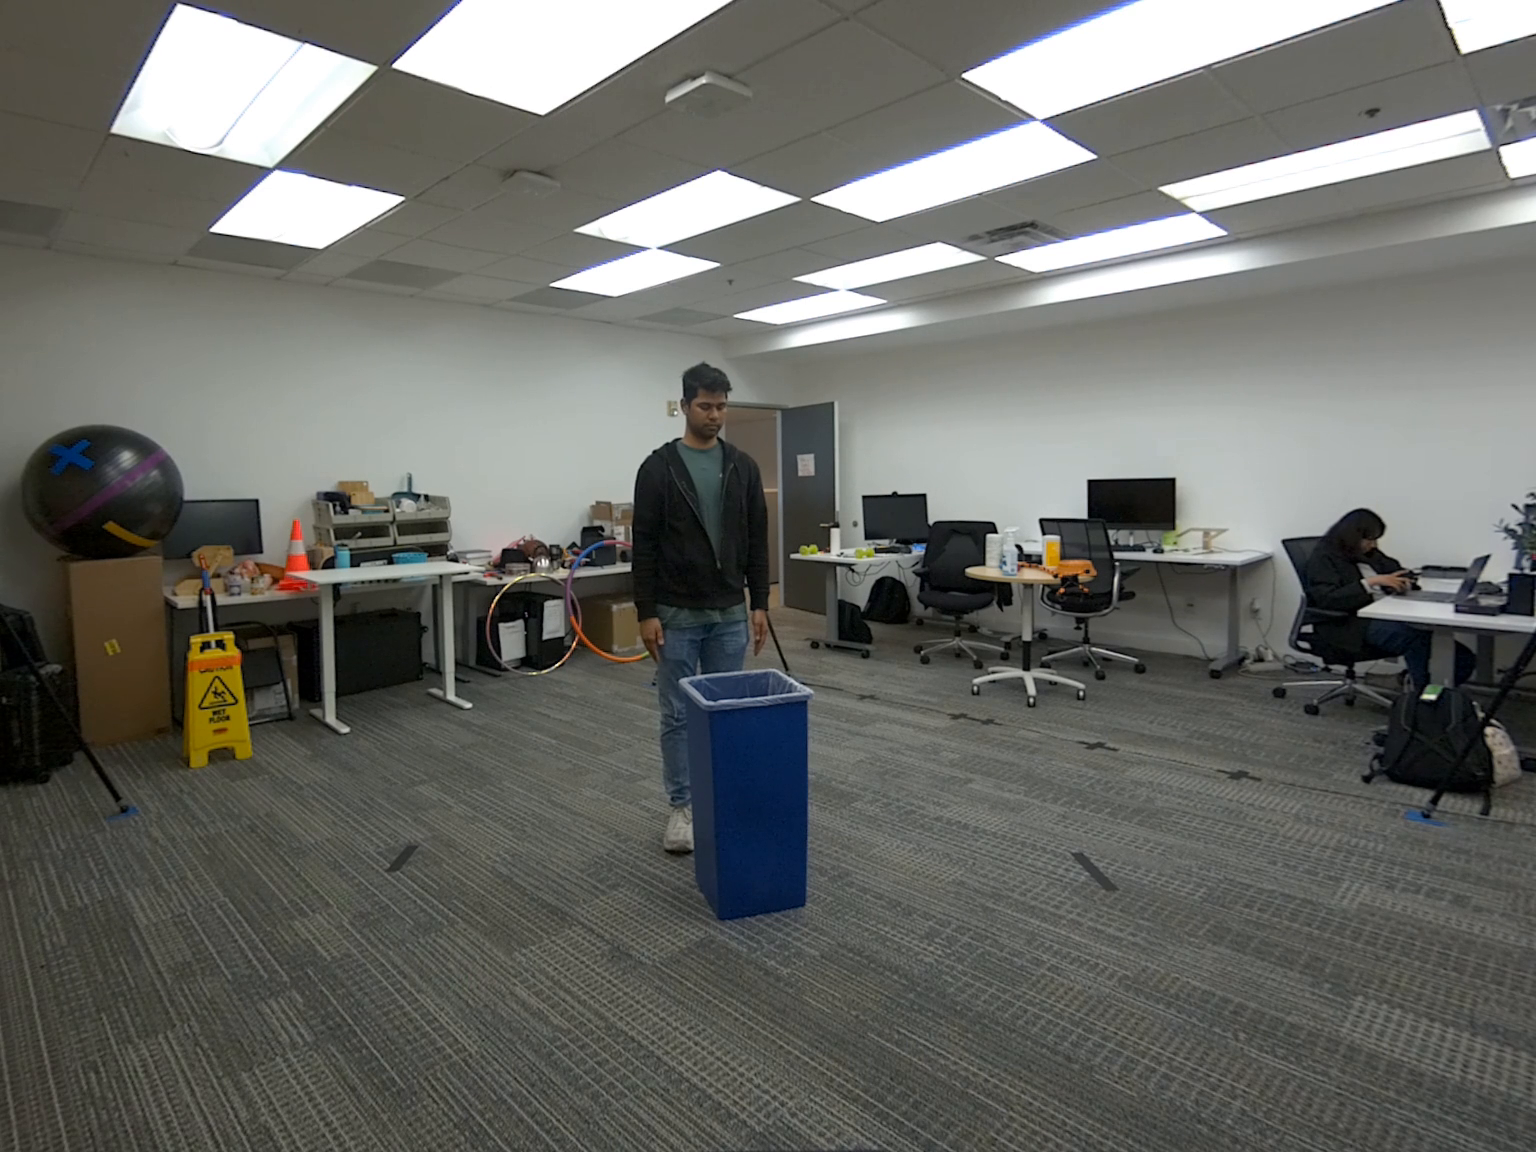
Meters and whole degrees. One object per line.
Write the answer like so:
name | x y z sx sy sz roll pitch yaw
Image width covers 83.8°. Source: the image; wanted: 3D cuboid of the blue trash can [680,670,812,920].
blue trash can | -0.072 0.714 2.859 0.368 0.711 0.386 -2 4 -19
